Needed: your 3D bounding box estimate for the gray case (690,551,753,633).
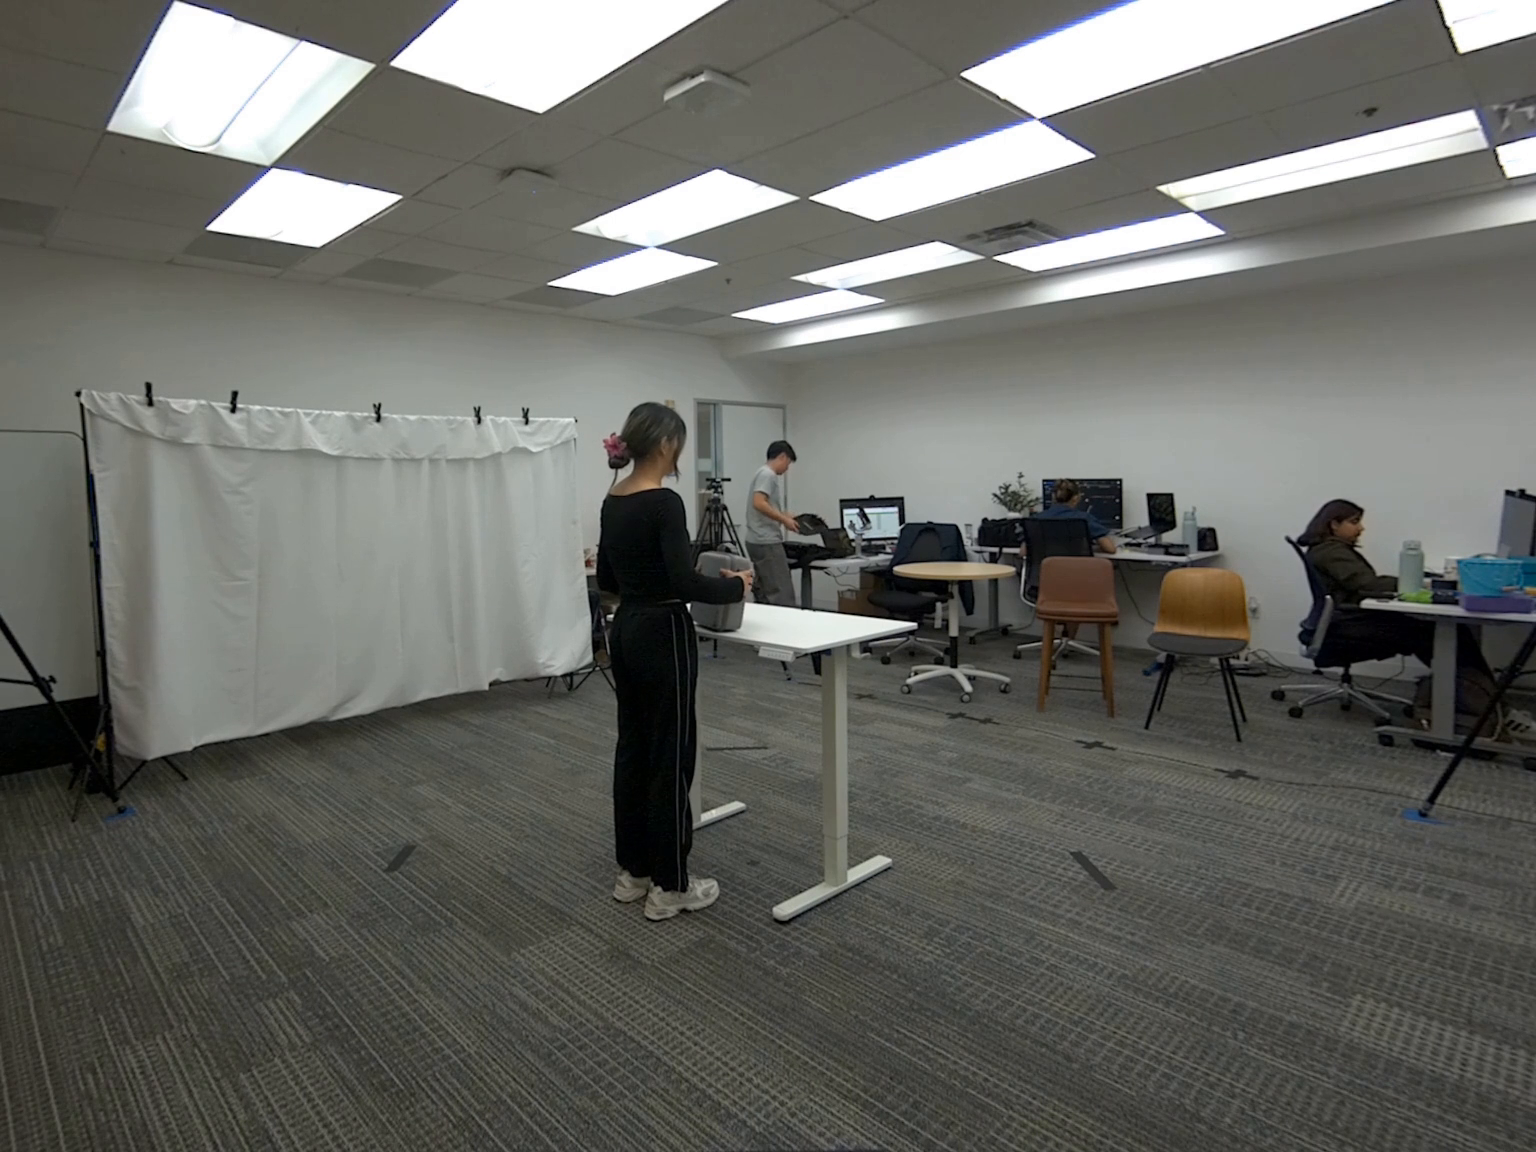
[{"bbox_3d":[-0.167,0.049,2.944,0.102,0.261,0.263,9,0,-24],"label":"gray case"}]
